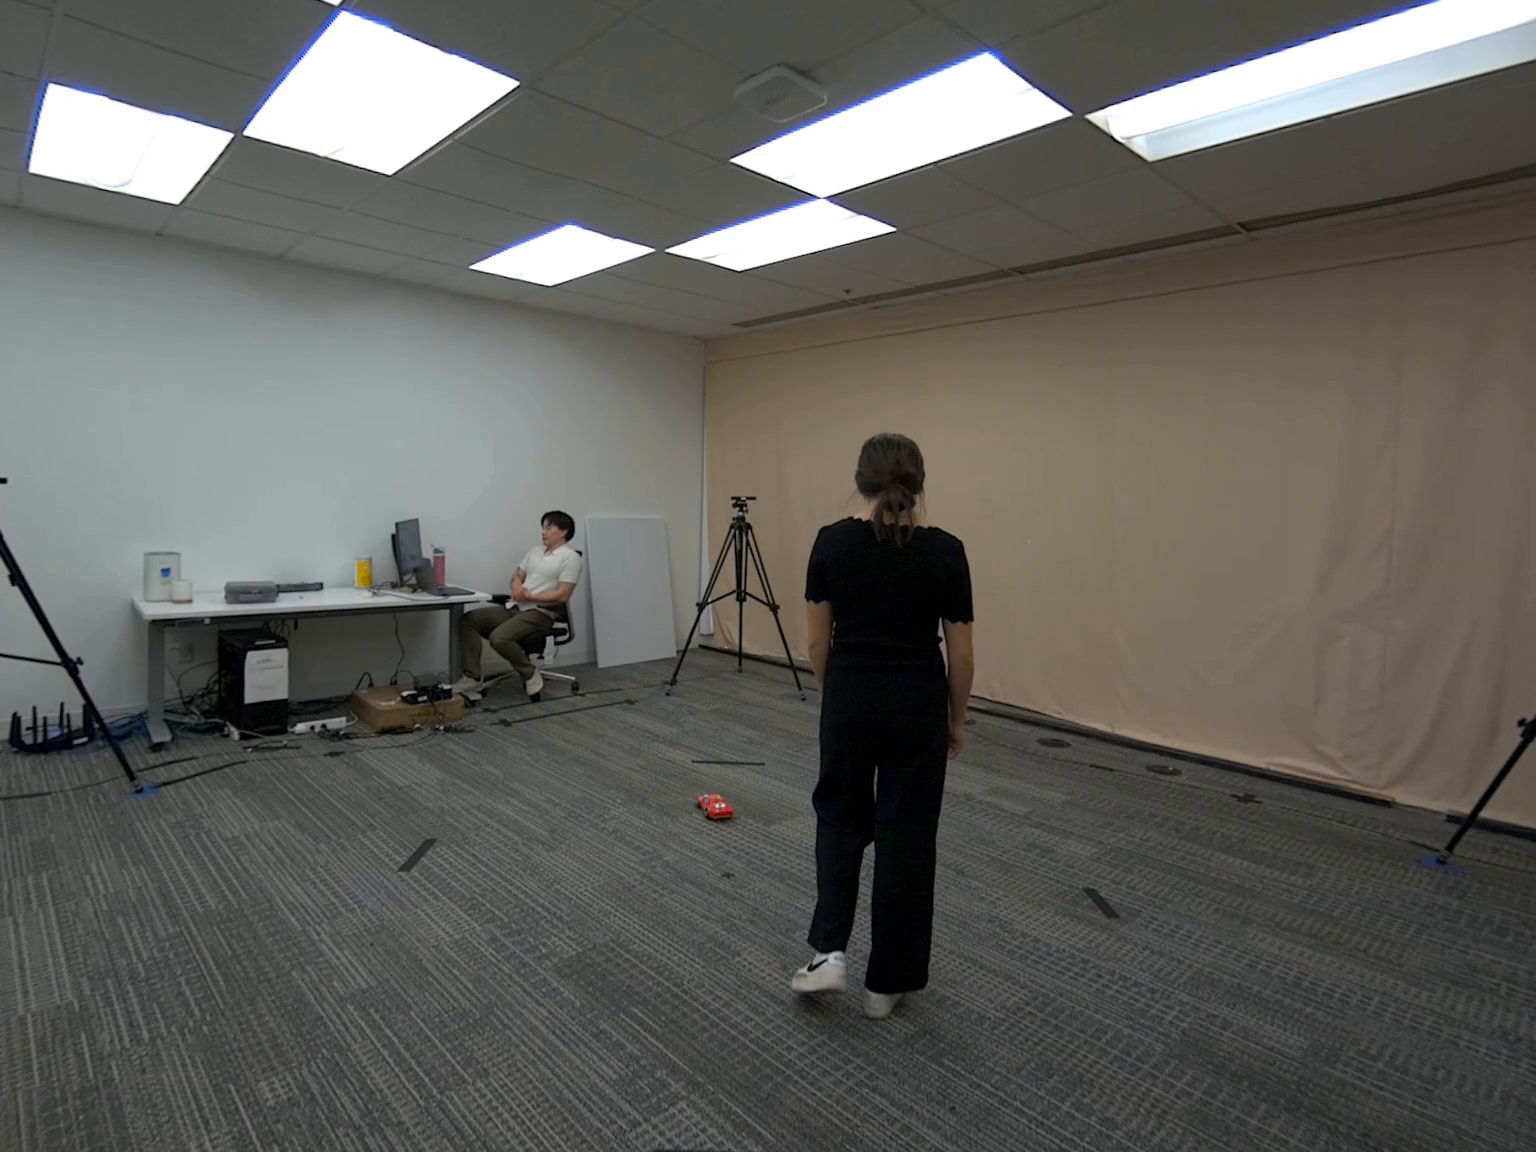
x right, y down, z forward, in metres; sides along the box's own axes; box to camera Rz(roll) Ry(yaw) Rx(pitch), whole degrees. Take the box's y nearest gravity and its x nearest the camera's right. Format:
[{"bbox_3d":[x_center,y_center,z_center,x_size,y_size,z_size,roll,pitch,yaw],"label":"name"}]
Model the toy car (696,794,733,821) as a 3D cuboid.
[{"bbox_3d":[-0.242,1.020,3.718,0.128,0.083,0.257,1,-5,-20],"label":"toy car"}]
